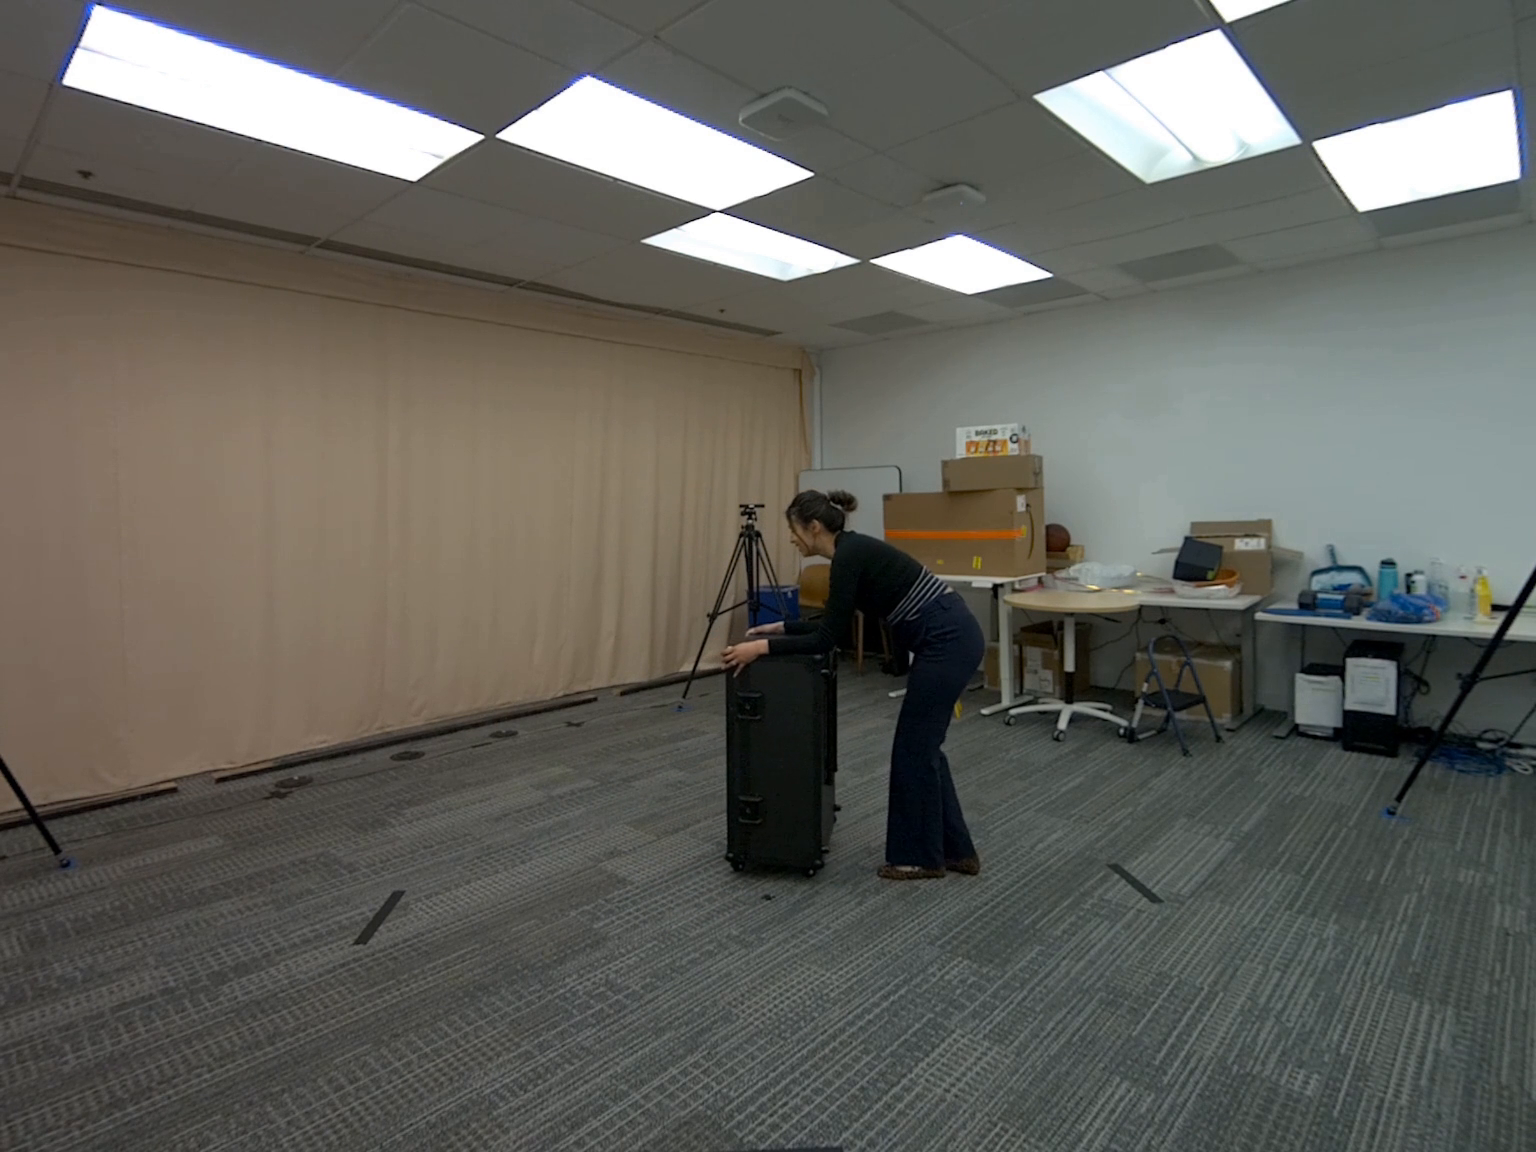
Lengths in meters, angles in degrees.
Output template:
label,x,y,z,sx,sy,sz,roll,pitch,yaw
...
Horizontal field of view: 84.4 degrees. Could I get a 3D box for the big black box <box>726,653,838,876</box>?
label,x,y,z,sx,sy,sz,roll,pitch,yaw
big black box,0.075,0.688,3.300,0.402,0.859,0.515,2,4,12
